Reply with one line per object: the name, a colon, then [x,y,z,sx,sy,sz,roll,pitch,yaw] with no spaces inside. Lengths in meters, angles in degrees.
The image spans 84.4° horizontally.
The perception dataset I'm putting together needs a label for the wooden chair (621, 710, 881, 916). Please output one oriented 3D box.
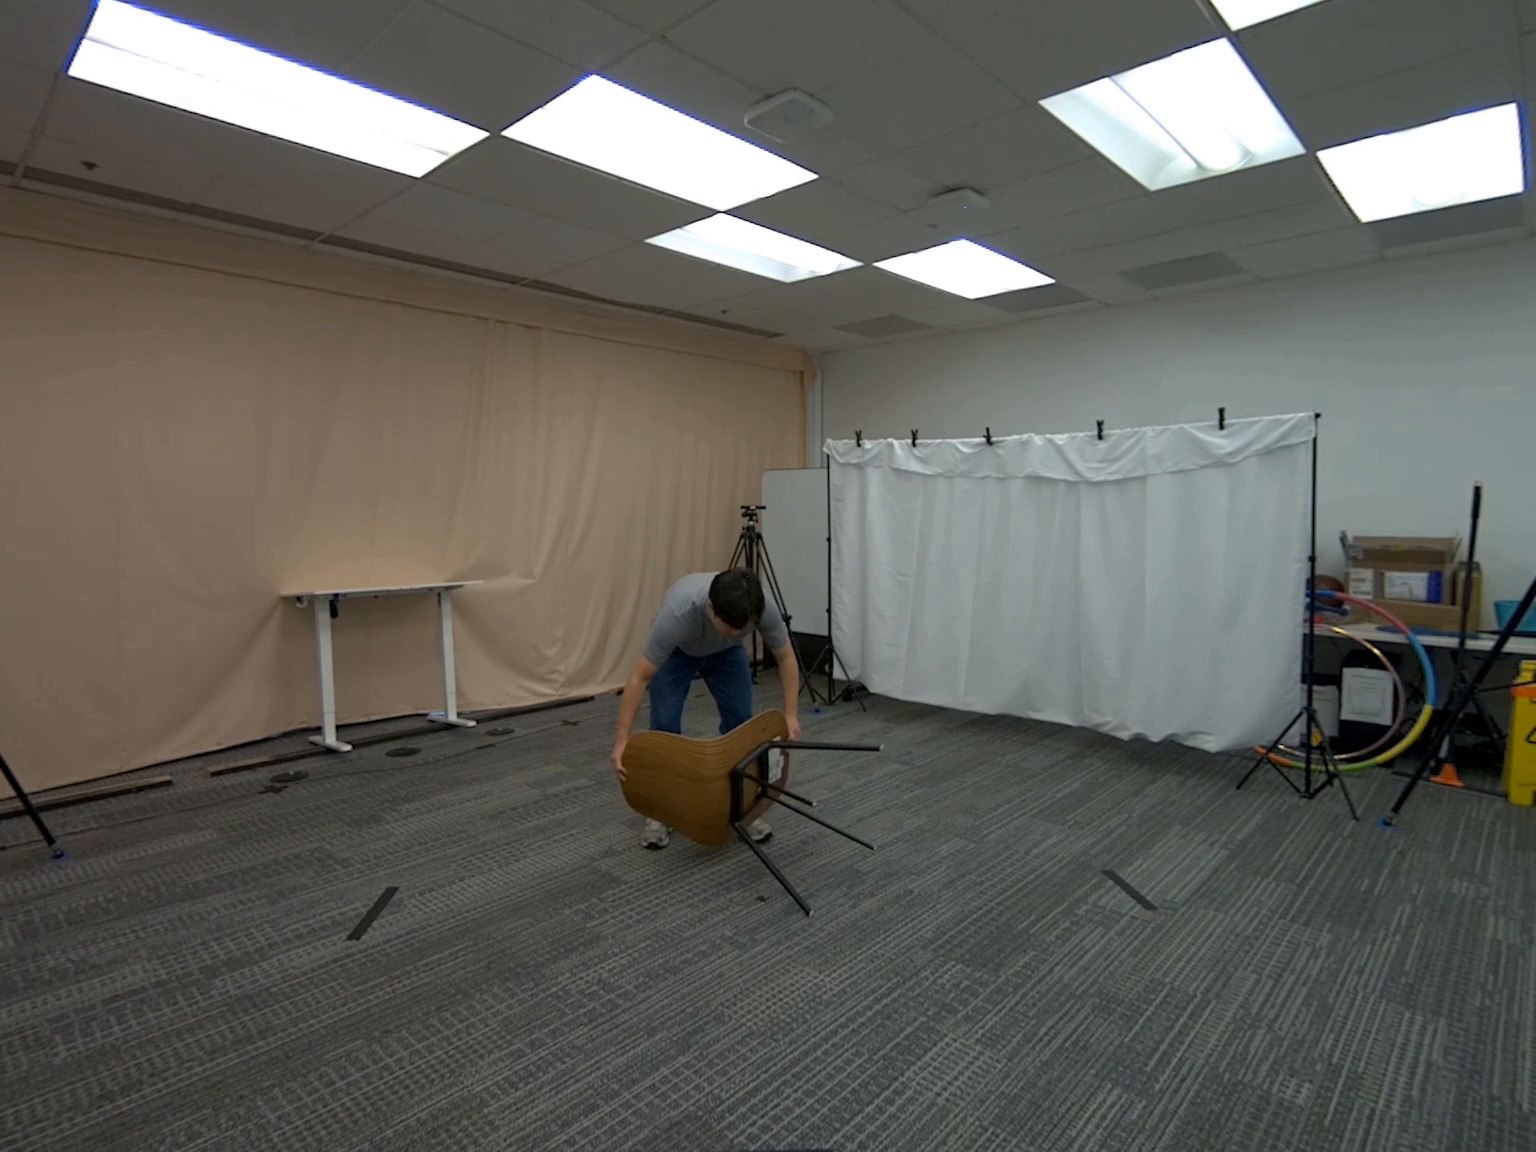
wooden chair: [-0.063,0.792,3.202,0.906,0.472,0.513,12,23,32]
